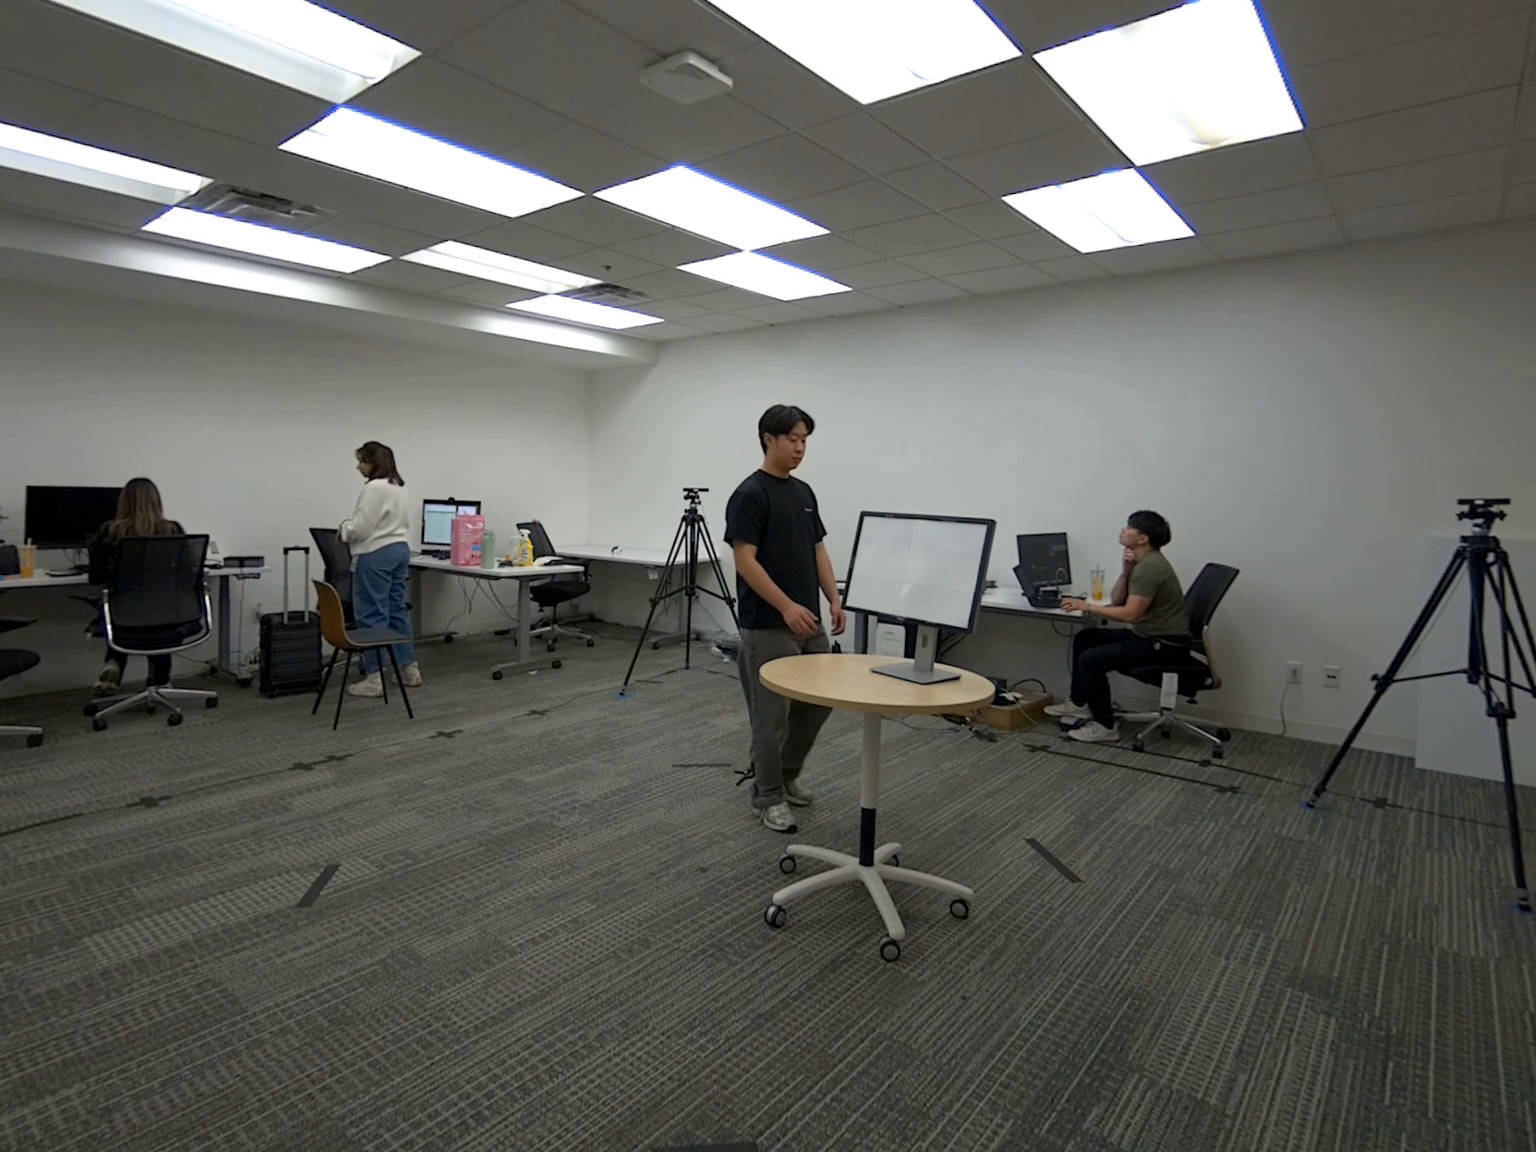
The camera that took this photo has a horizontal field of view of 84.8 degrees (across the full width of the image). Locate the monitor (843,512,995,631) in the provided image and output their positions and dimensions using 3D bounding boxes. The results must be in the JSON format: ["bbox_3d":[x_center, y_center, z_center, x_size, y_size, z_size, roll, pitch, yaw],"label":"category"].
[{"bbox_3d":[0.502,0.073,2.866,0.216,0.563,0.581,-3,6,-36],"label":"monitor"}]
